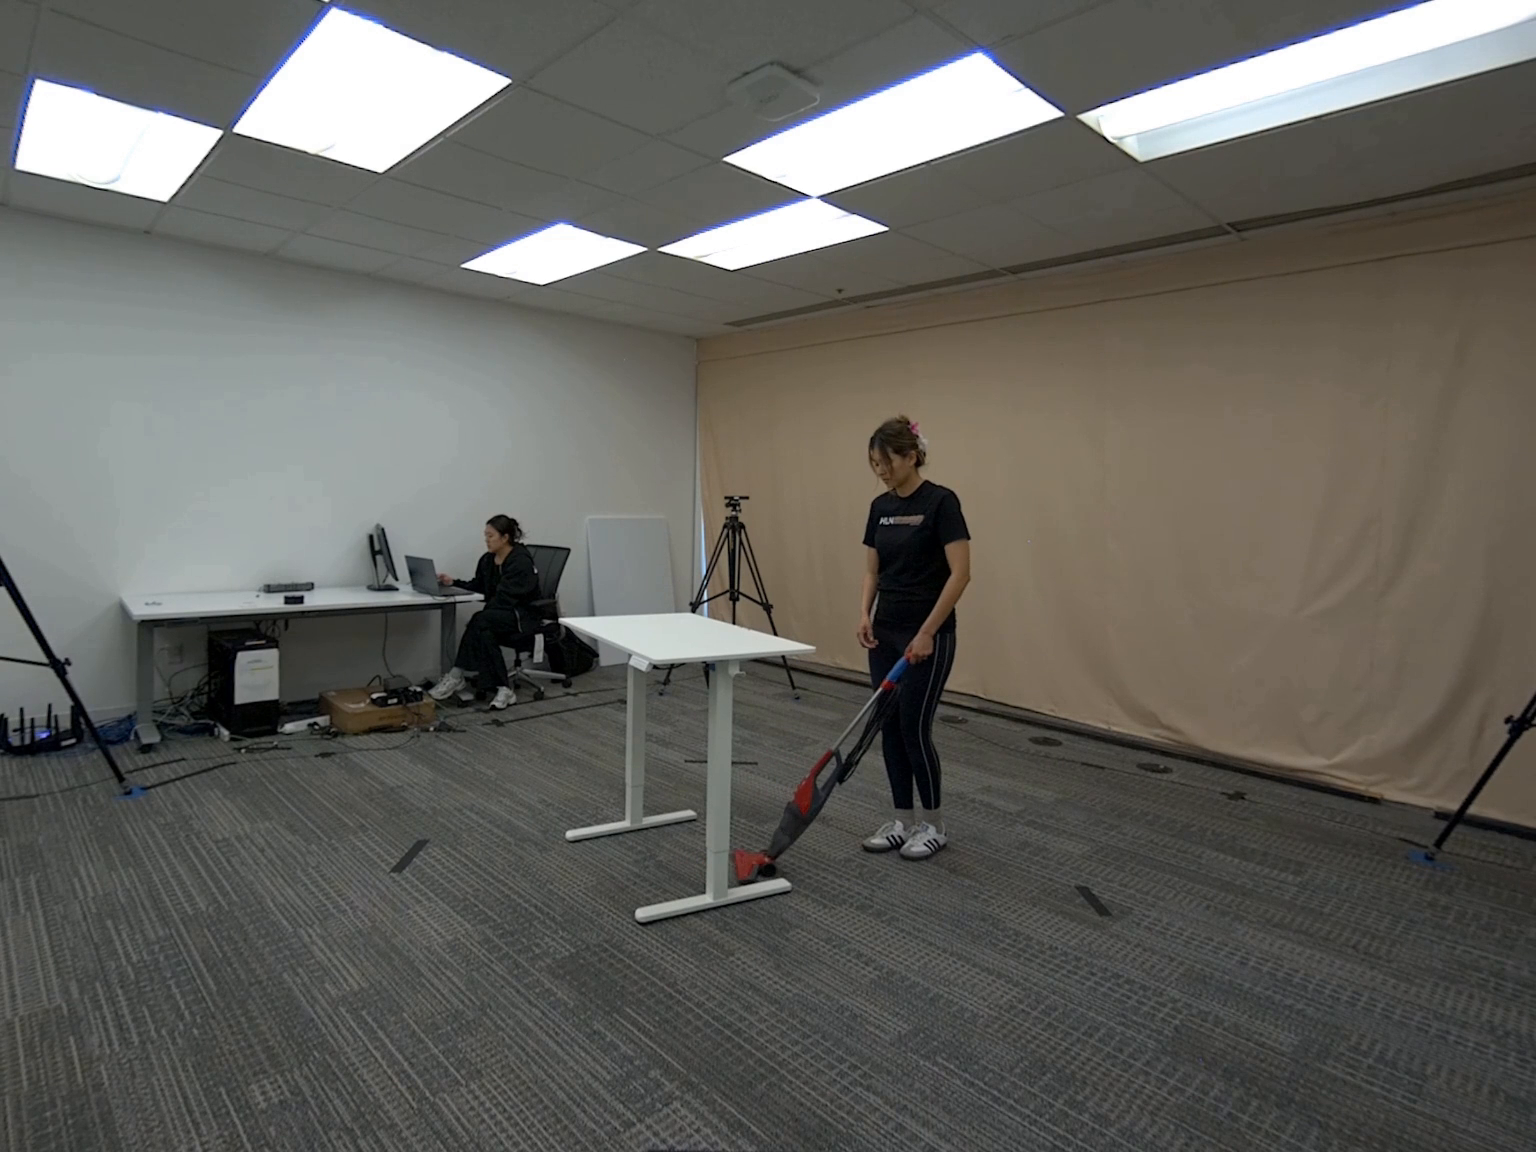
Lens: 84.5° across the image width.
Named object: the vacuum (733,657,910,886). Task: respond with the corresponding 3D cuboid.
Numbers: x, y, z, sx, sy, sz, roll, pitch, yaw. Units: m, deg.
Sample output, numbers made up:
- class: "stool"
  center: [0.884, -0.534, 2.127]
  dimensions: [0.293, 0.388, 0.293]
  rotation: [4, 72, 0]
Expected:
- class: "vacuum"
  center: [0.268, 0.687, 3.155]
  dimensions: [0.142, 1.049, 0.255]
  rotation: [41, 0, -11]
